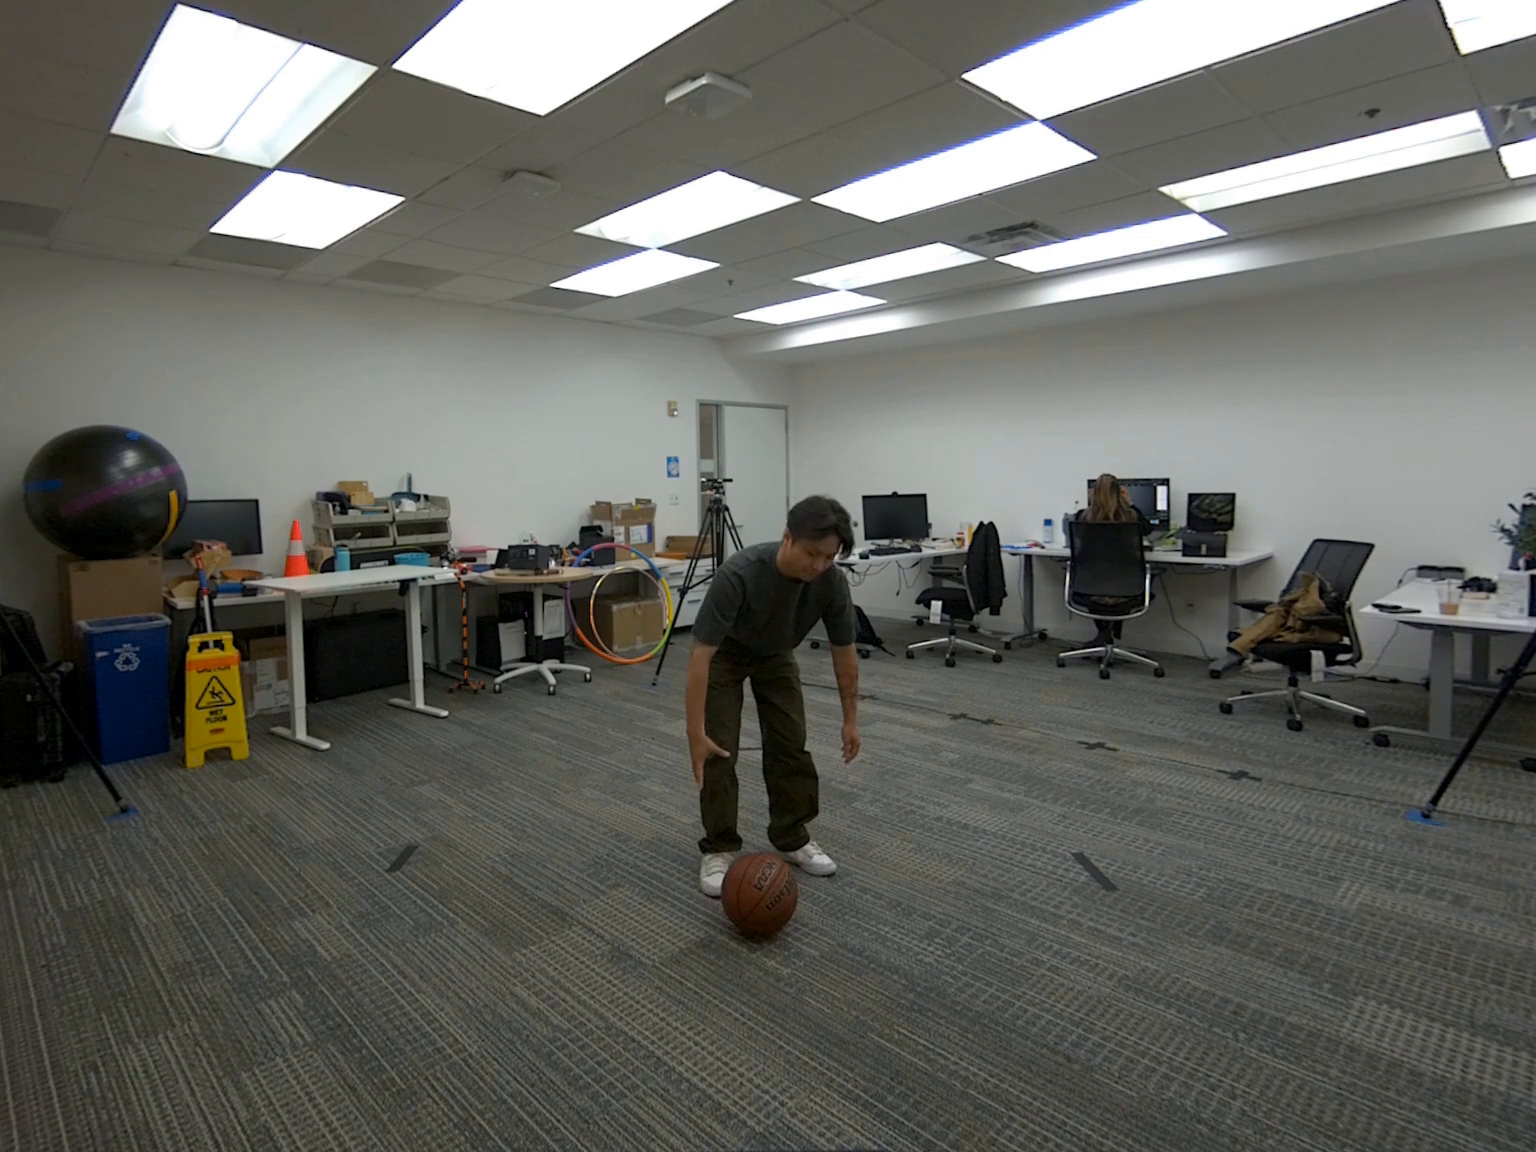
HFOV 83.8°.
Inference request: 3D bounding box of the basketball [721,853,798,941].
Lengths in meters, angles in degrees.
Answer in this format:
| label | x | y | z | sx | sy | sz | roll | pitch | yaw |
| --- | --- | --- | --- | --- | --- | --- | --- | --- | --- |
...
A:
| label | x | y | z | sx | sy | sz | roll | pitch | yaw |
| --- | --- | --- | --- | --- | --- | --- | --- | --- | --- |
| basketball | -0.028 | 0.978 | 2.636 | 0.236 | 0.235 | 0.237 | -1 | 5 | -2 |
